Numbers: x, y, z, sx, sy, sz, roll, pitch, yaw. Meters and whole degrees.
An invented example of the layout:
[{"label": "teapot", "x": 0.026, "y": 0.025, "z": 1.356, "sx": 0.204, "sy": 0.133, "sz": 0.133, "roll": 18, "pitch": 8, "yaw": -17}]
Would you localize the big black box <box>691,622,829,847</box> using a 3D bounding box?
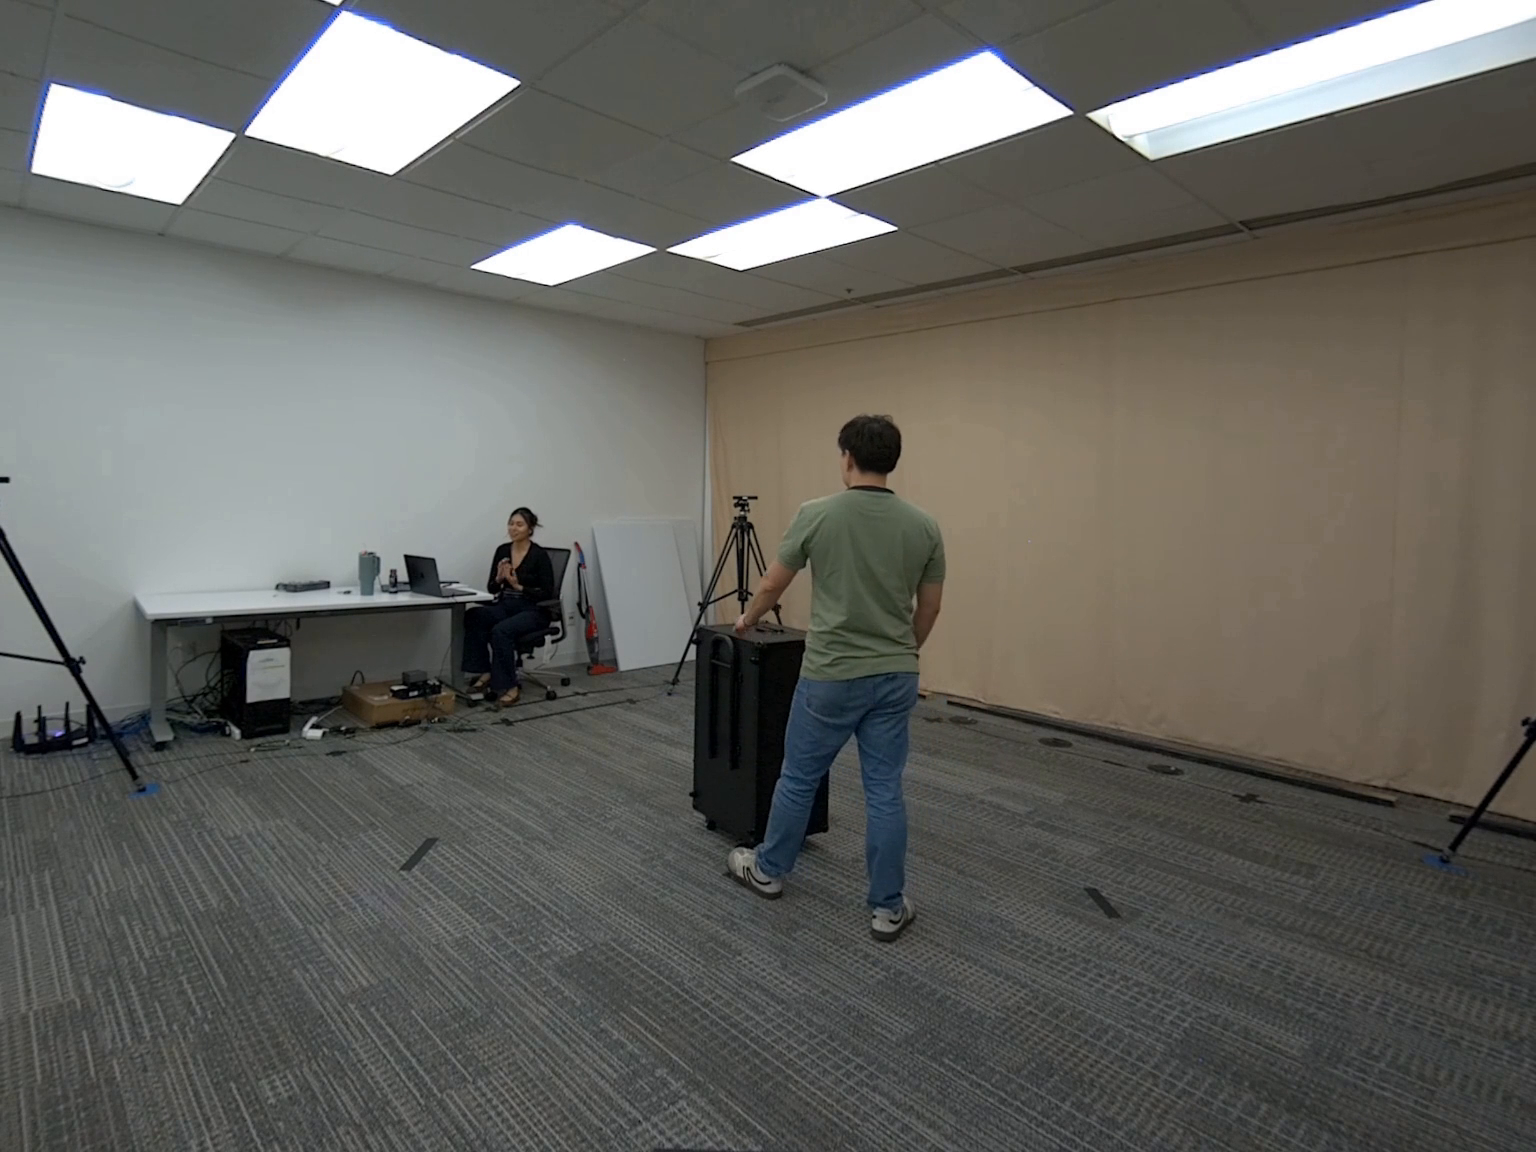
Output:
[{"label": "big black box", "x": -0.045, "y": 0.650, "z": 3.439, "sx": 0.388, "sy": 0.859, "sz": 0.533, "roll": -1, "pitch": 4, "yaw": -33}]
